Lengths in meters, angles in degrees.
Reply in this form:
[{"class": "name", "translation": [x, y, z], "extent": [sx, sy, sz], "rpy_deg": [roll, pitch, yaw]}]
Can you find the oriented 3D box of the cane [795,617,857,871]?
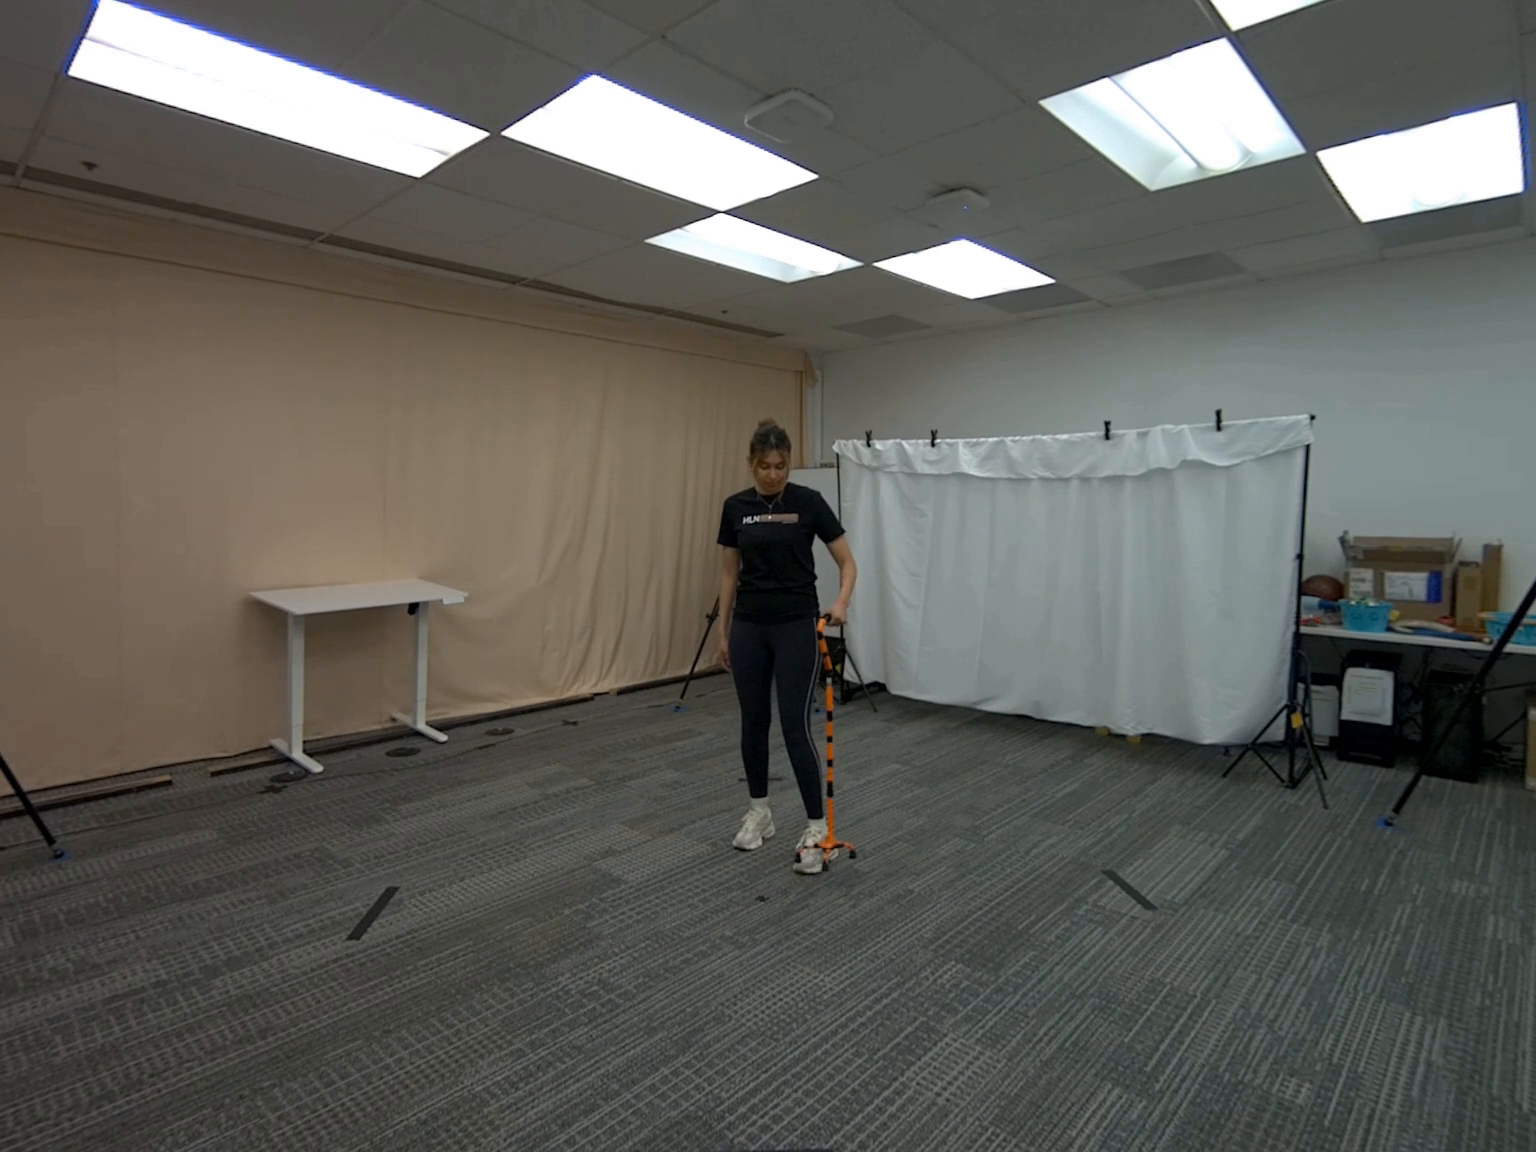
[{"class": "cane", "translation": [0.218, 0.596, 3.123], "extent": [0.156, 0.908, 0.200], "rpy_deg": [-1, -2, 43]}]
